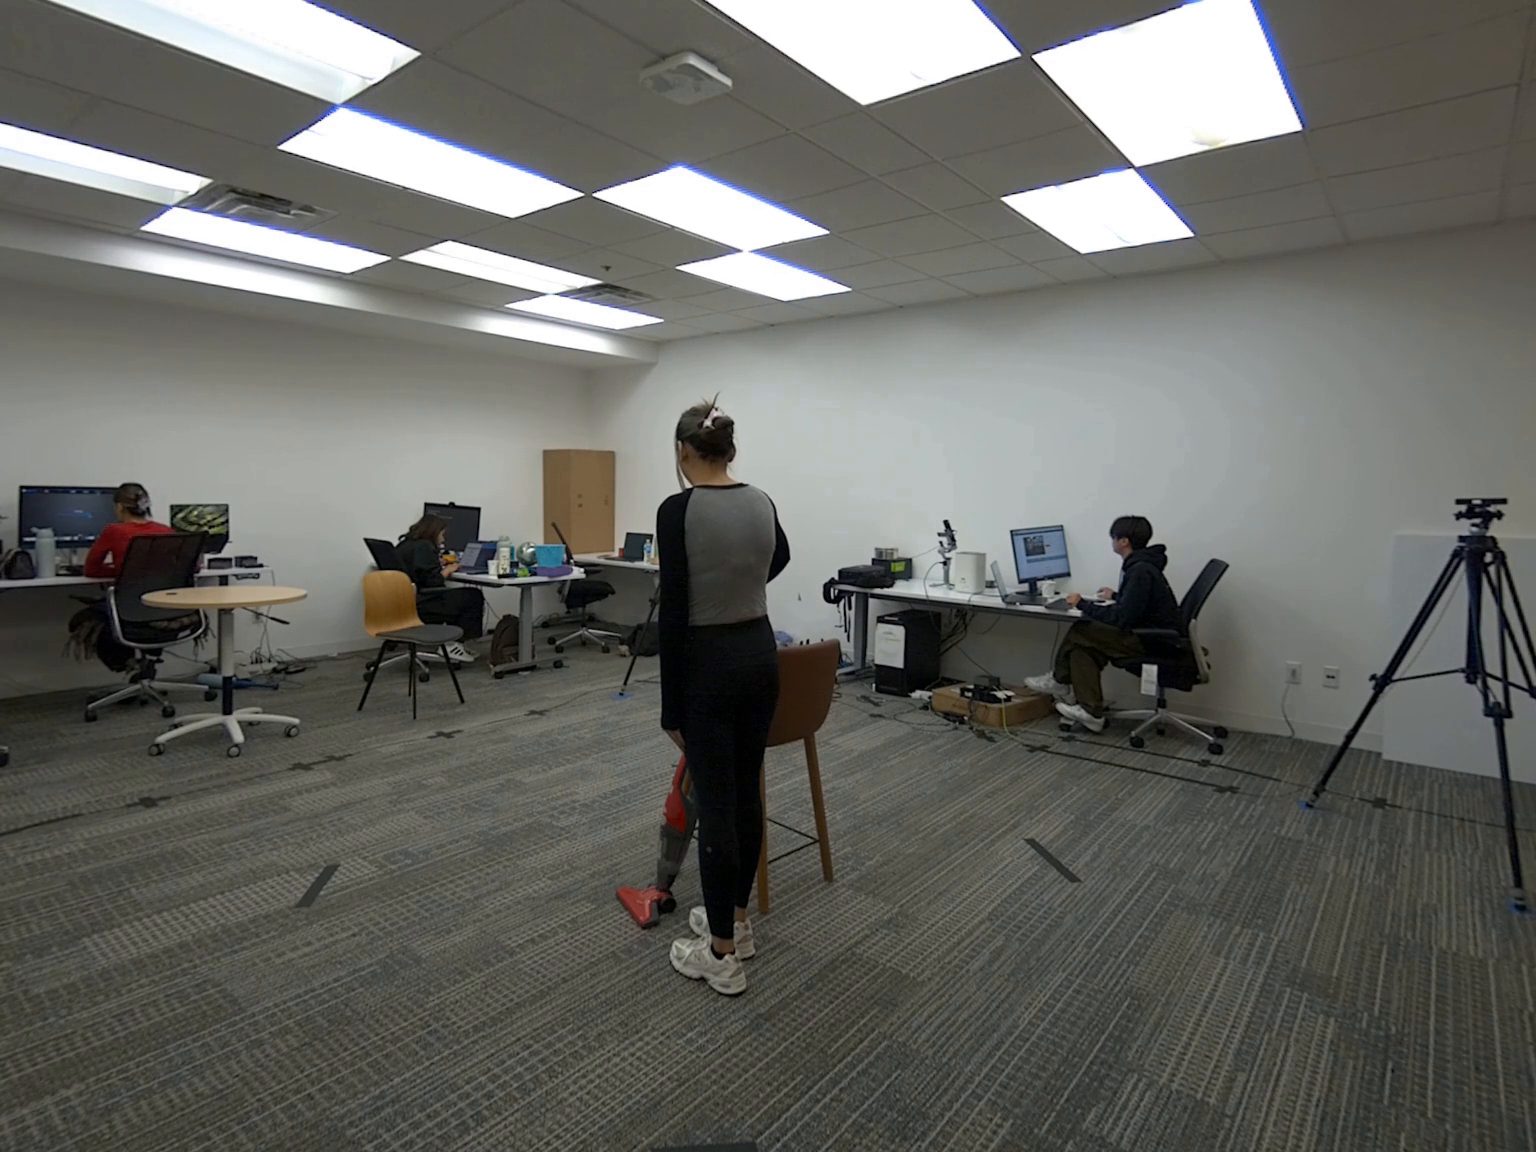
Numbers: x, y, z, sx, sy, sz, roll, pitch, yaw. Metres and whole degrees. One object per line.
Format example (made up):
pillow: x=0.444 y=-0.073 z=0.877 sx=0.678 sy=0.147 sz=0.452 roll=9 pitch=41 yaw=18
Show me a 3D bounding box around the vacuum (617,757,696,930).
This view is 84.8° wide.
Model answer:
vacuum: x=-0.246 y=0.596 z=2.875 sx=0.139 sy=1.054 sz=0.260 roll=22 pitch=-9 yaw=-31
